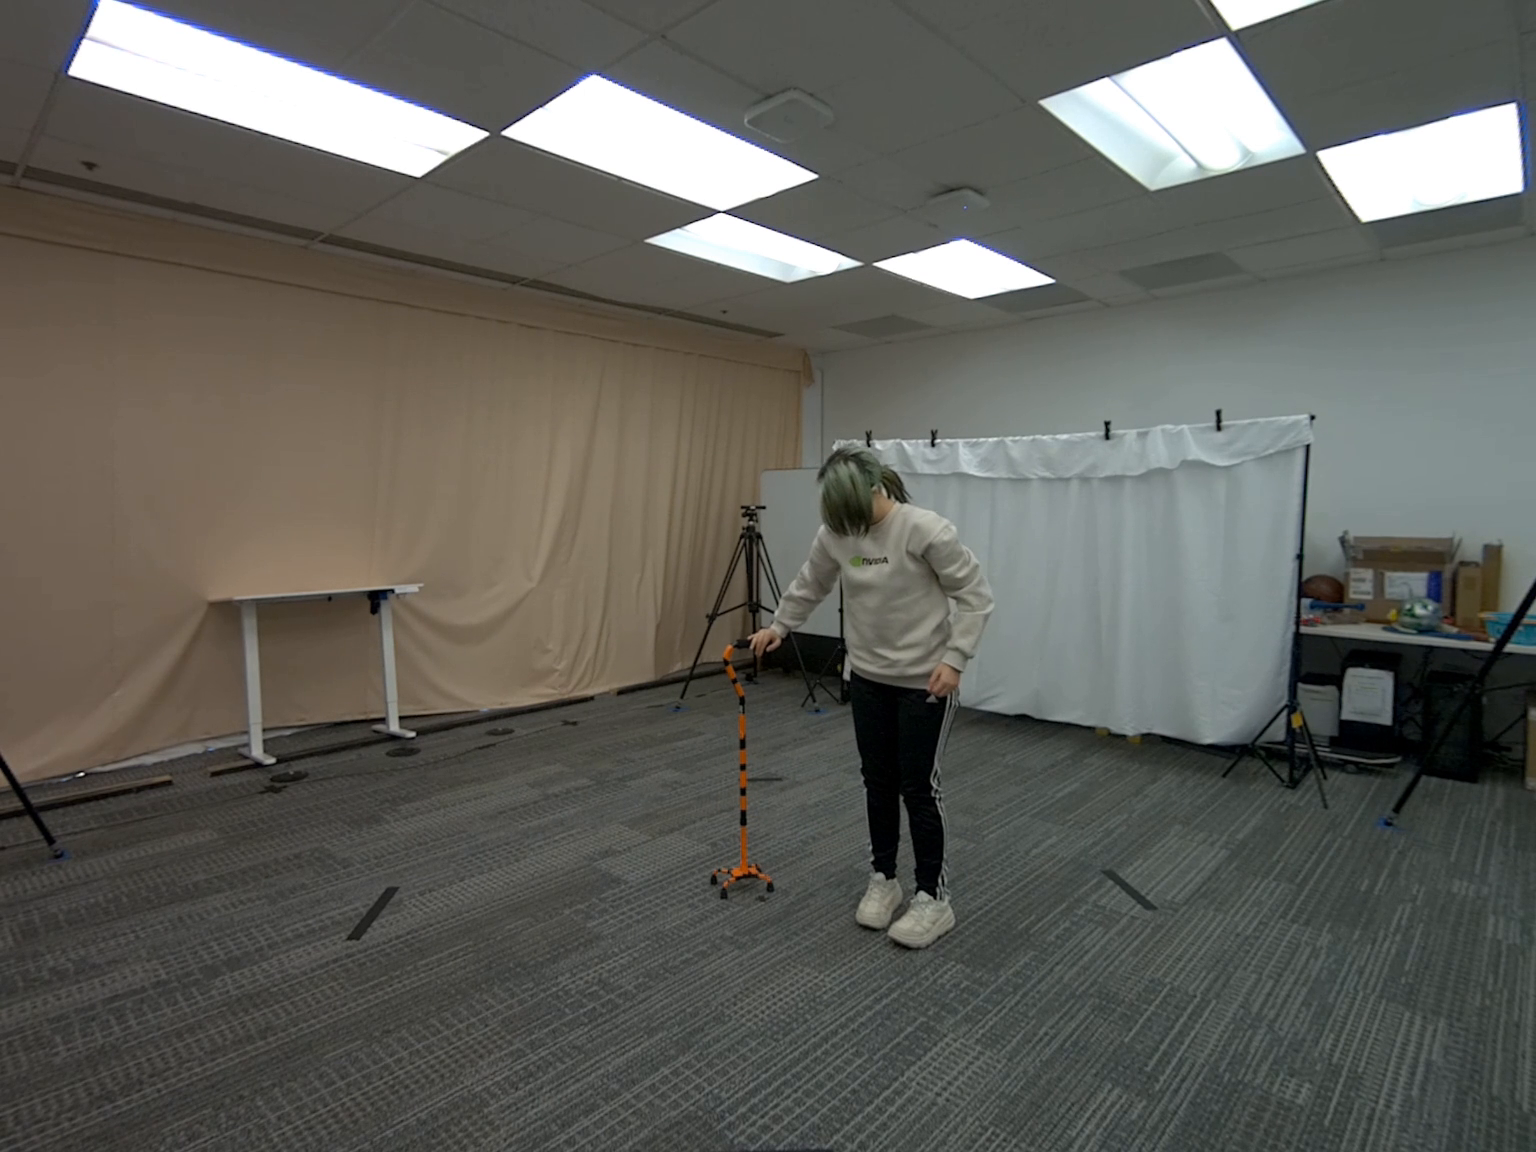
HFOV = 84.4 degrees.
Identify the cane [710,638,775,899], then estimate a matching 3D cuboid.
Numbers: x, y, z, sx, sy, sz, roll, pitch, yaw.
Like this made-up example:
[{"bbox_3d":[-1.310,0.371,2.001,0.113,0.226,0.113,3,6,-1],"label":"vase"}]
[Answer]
[{"bbox_3d":[-0.094,0.686,3.059,0.202,0.907,0.155,-1,2,-19],"label":"cane"}]
